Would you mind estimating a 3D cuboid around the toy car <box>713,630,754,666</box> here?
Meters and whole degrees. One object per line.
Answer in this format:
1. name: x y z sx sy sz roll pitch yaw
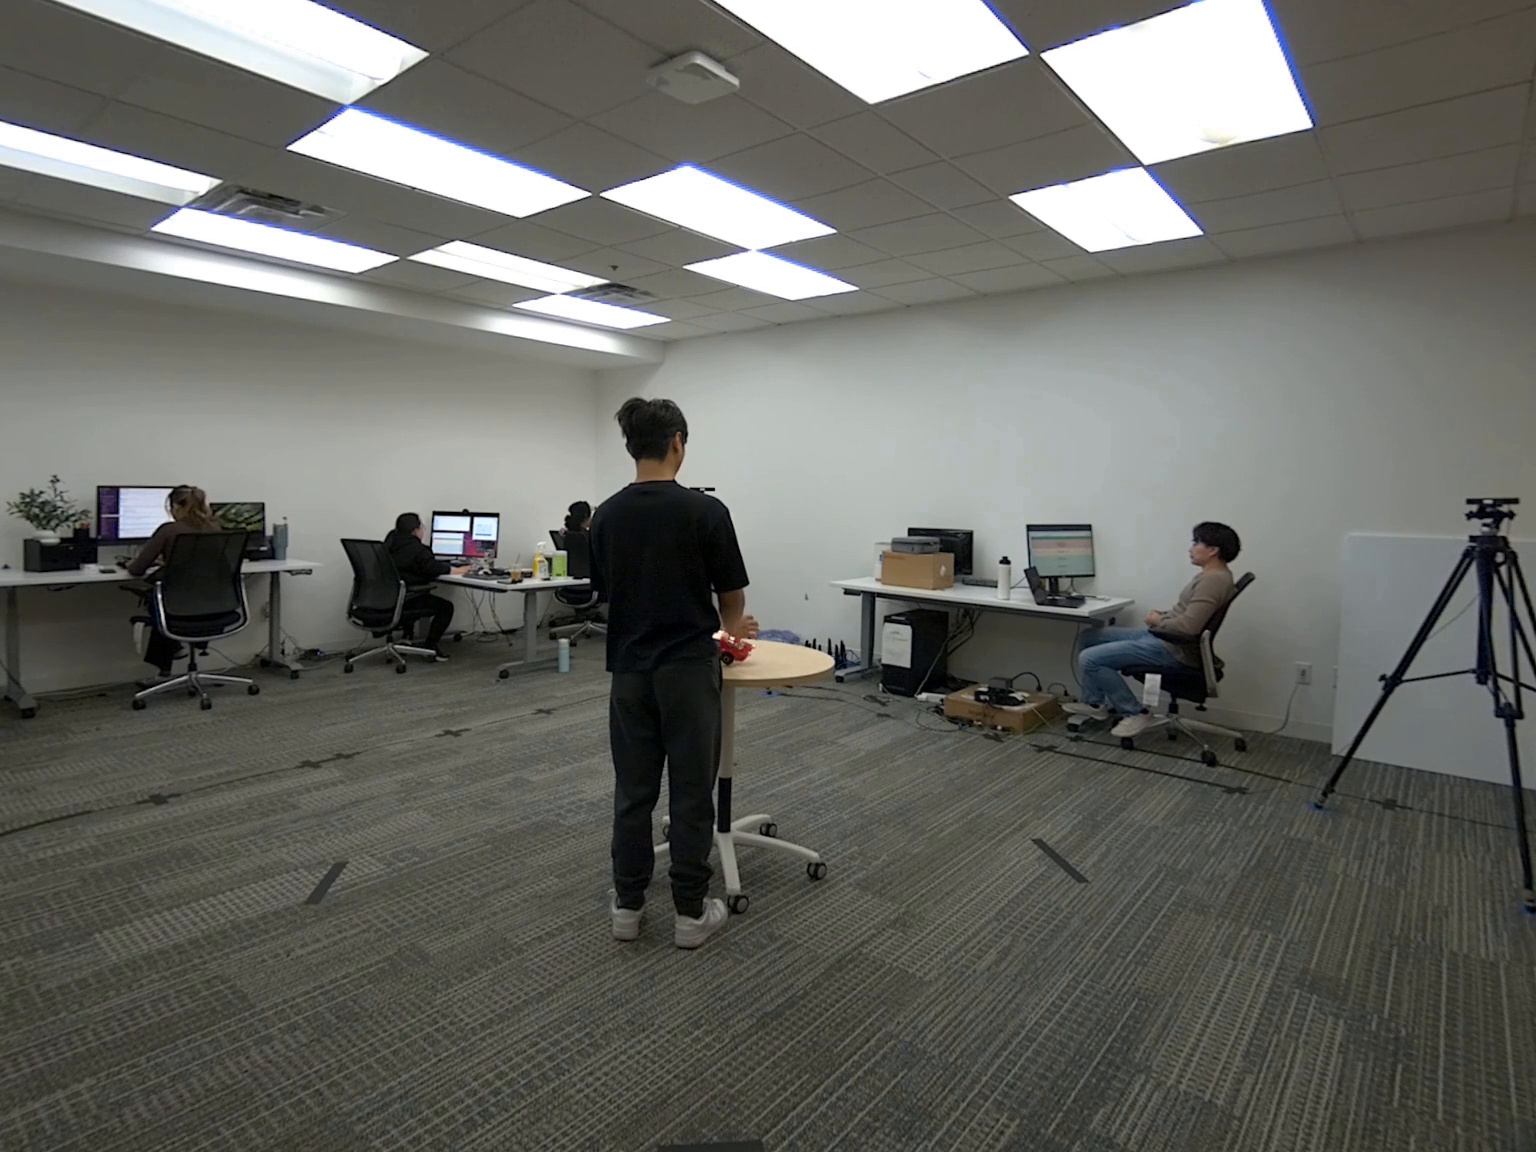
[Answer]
1. toy car: -0.177 0.239 2.962 0.260 0.082 0.130 7 22 17
